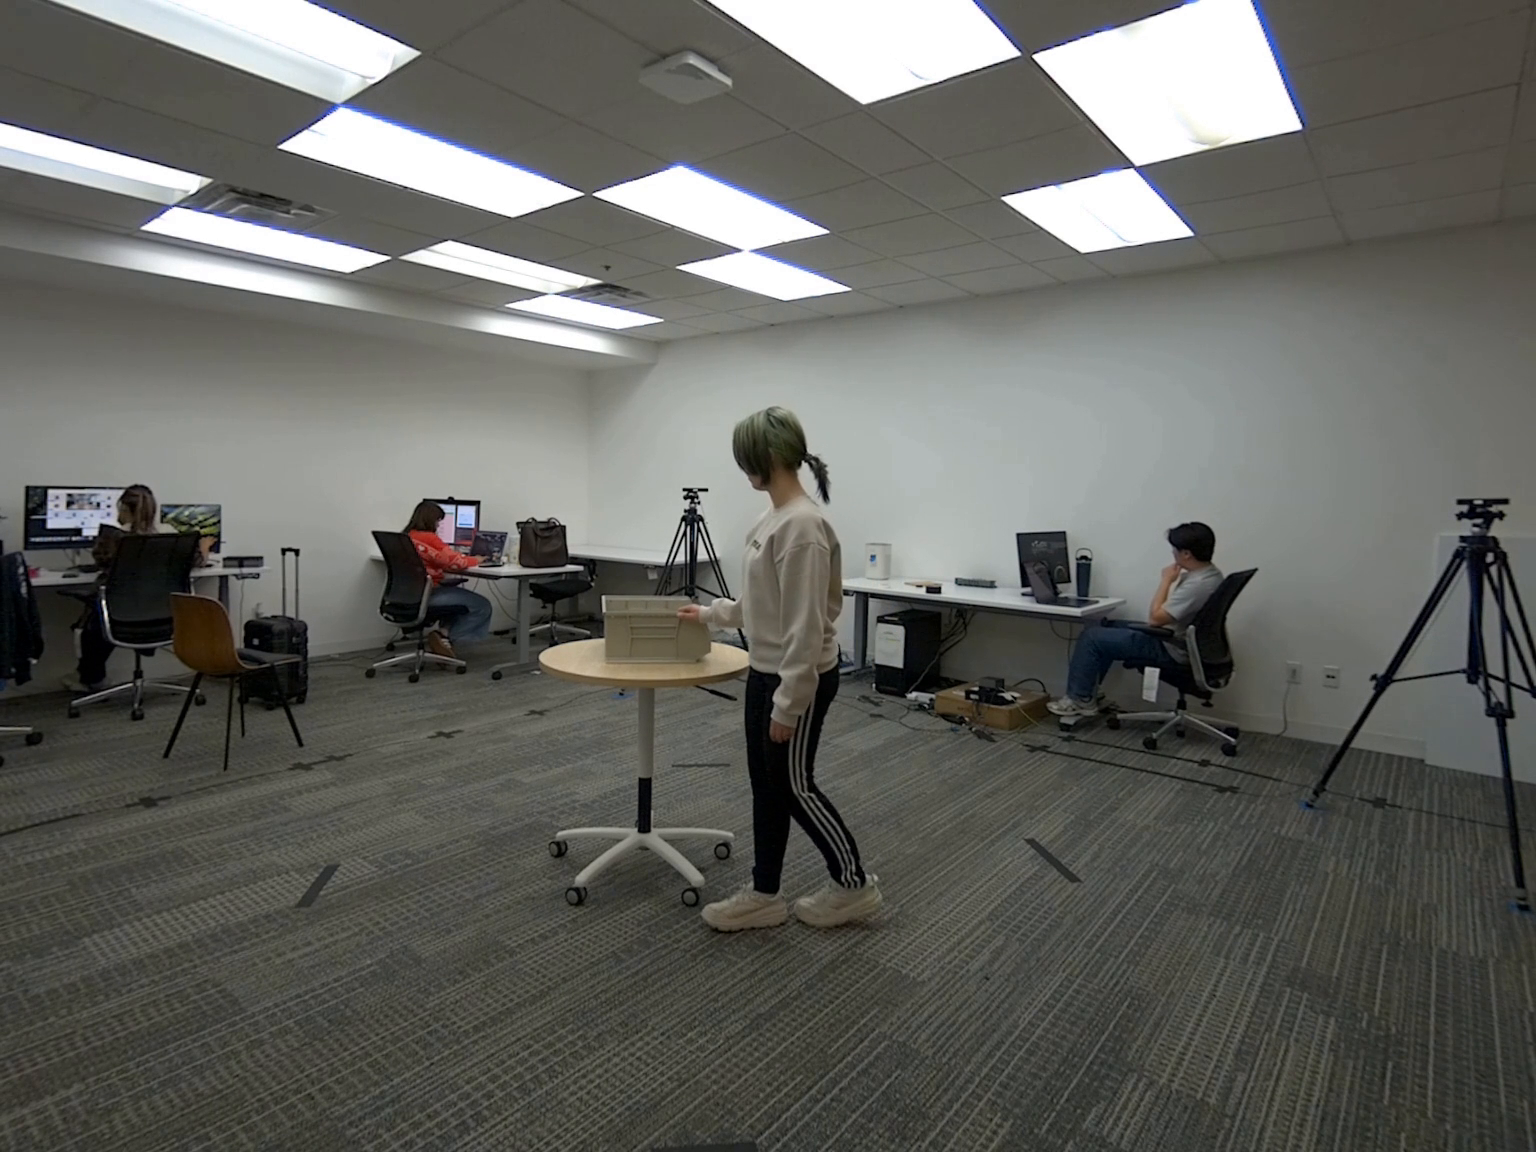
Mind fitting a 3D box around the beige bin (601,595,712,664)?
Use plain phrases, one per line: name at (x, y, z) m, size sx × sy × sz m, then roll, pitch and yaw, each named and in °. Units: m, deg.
beige bin at (-0.425, 0.187, 3.131) m, size 0.374 × 0.188 × 0.428 m, roll -1°, pitch 6°, yaw -9°
